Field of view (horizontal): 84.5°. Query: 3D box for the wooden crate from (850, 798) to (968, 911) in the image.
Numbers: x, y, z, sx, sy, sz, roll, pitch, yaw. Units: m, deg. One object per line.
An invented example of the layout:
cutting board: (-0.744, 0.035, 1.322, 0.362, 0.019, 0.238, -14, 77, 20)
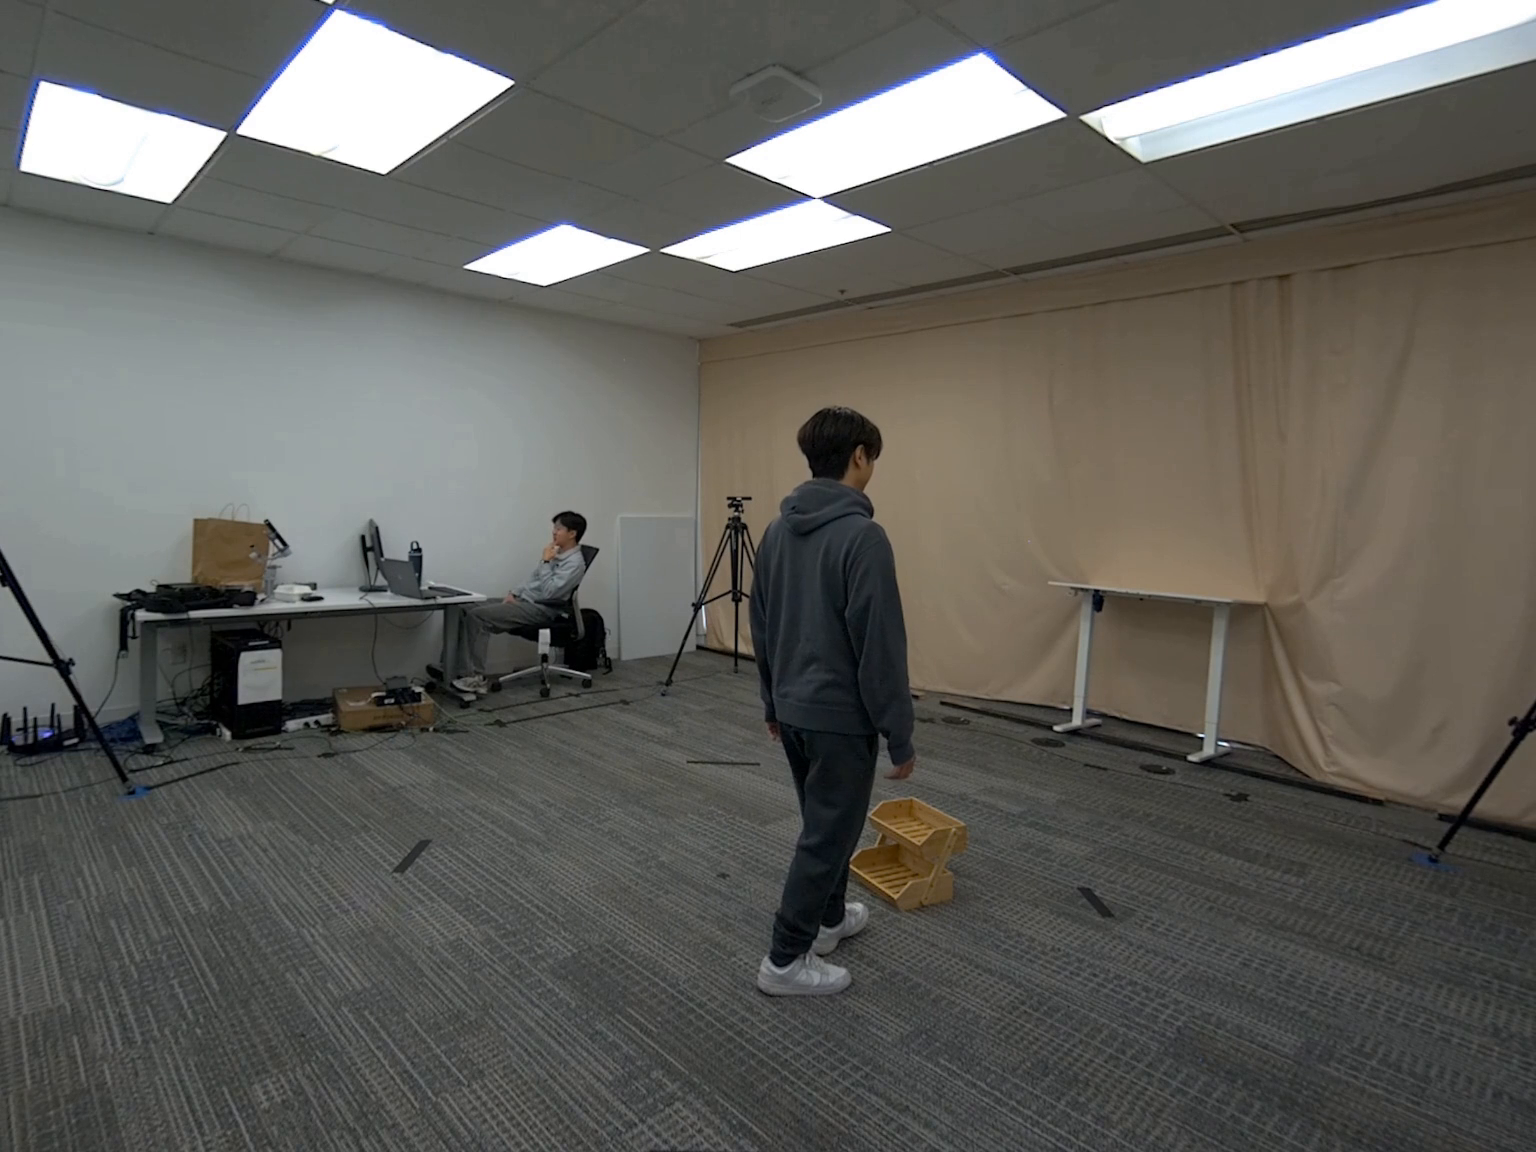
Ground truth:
wooden crate: (0.491, 0.991, 3.047, 0.296, 0.273, 0.332, 0, 4, -28)
